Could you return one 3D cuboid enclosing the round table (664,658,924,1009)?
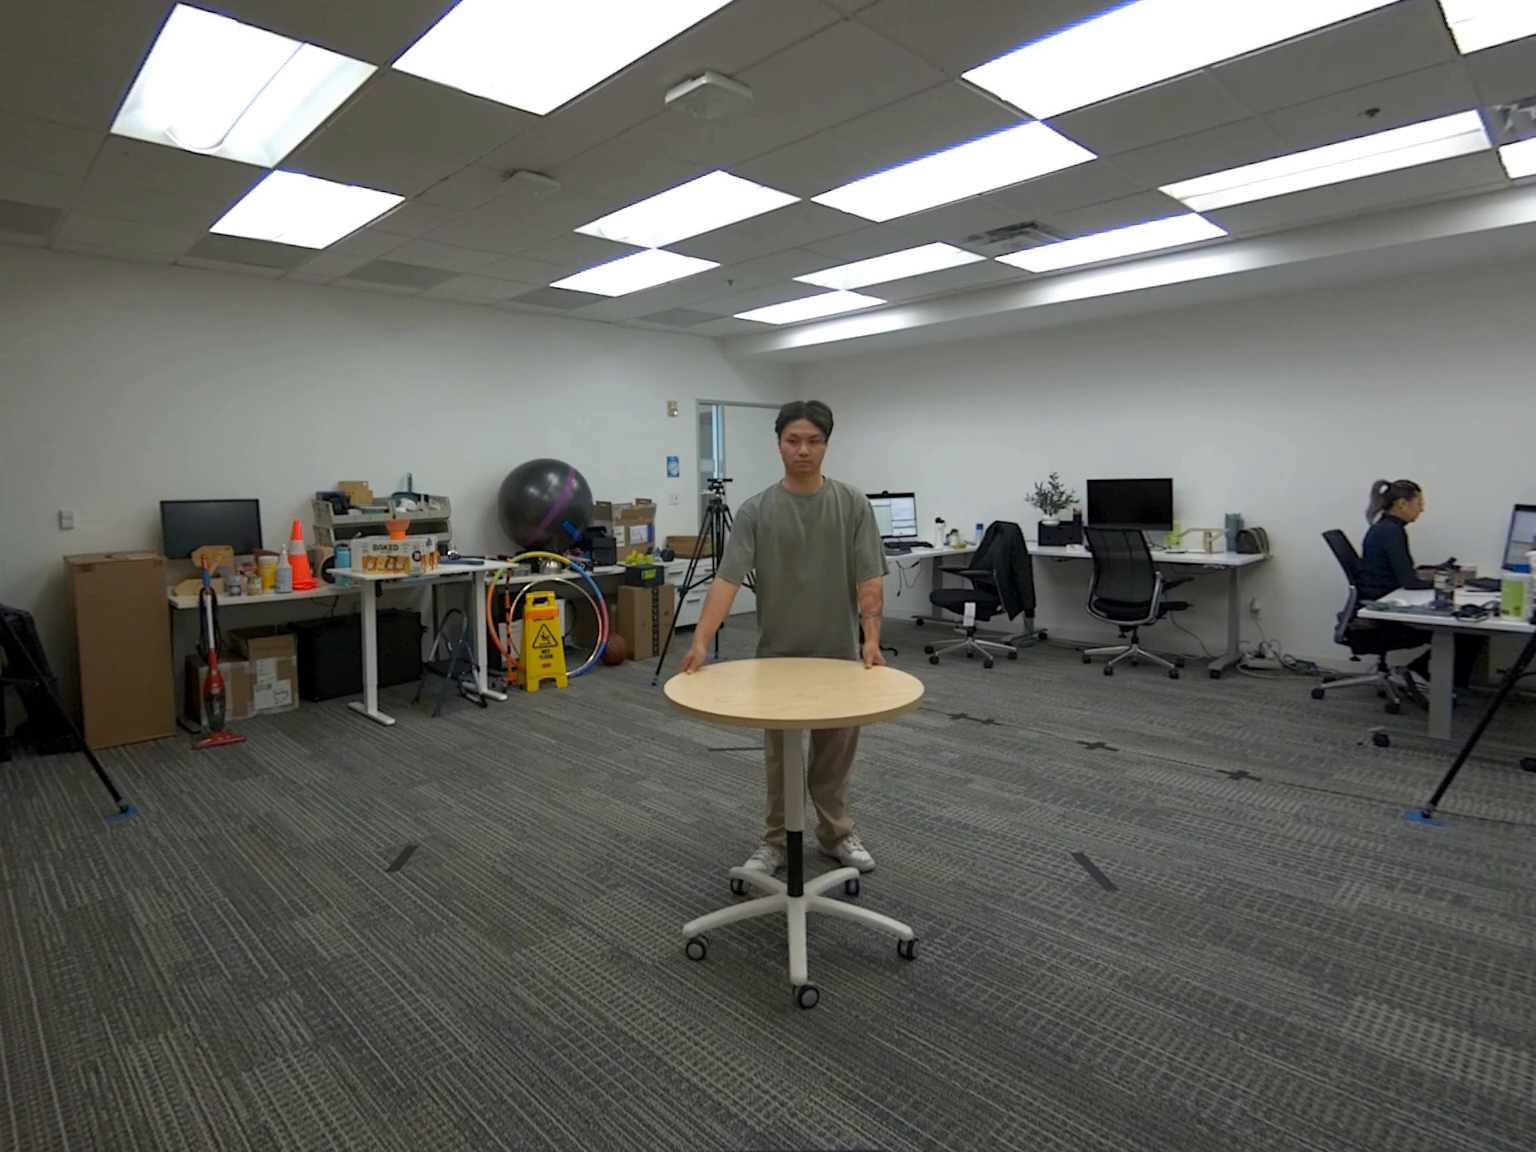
[{"bbox_3d":[0.080,0.717,2.557,0.784,0.783,0.789,-1,5,-2],"label":"round table"}]
